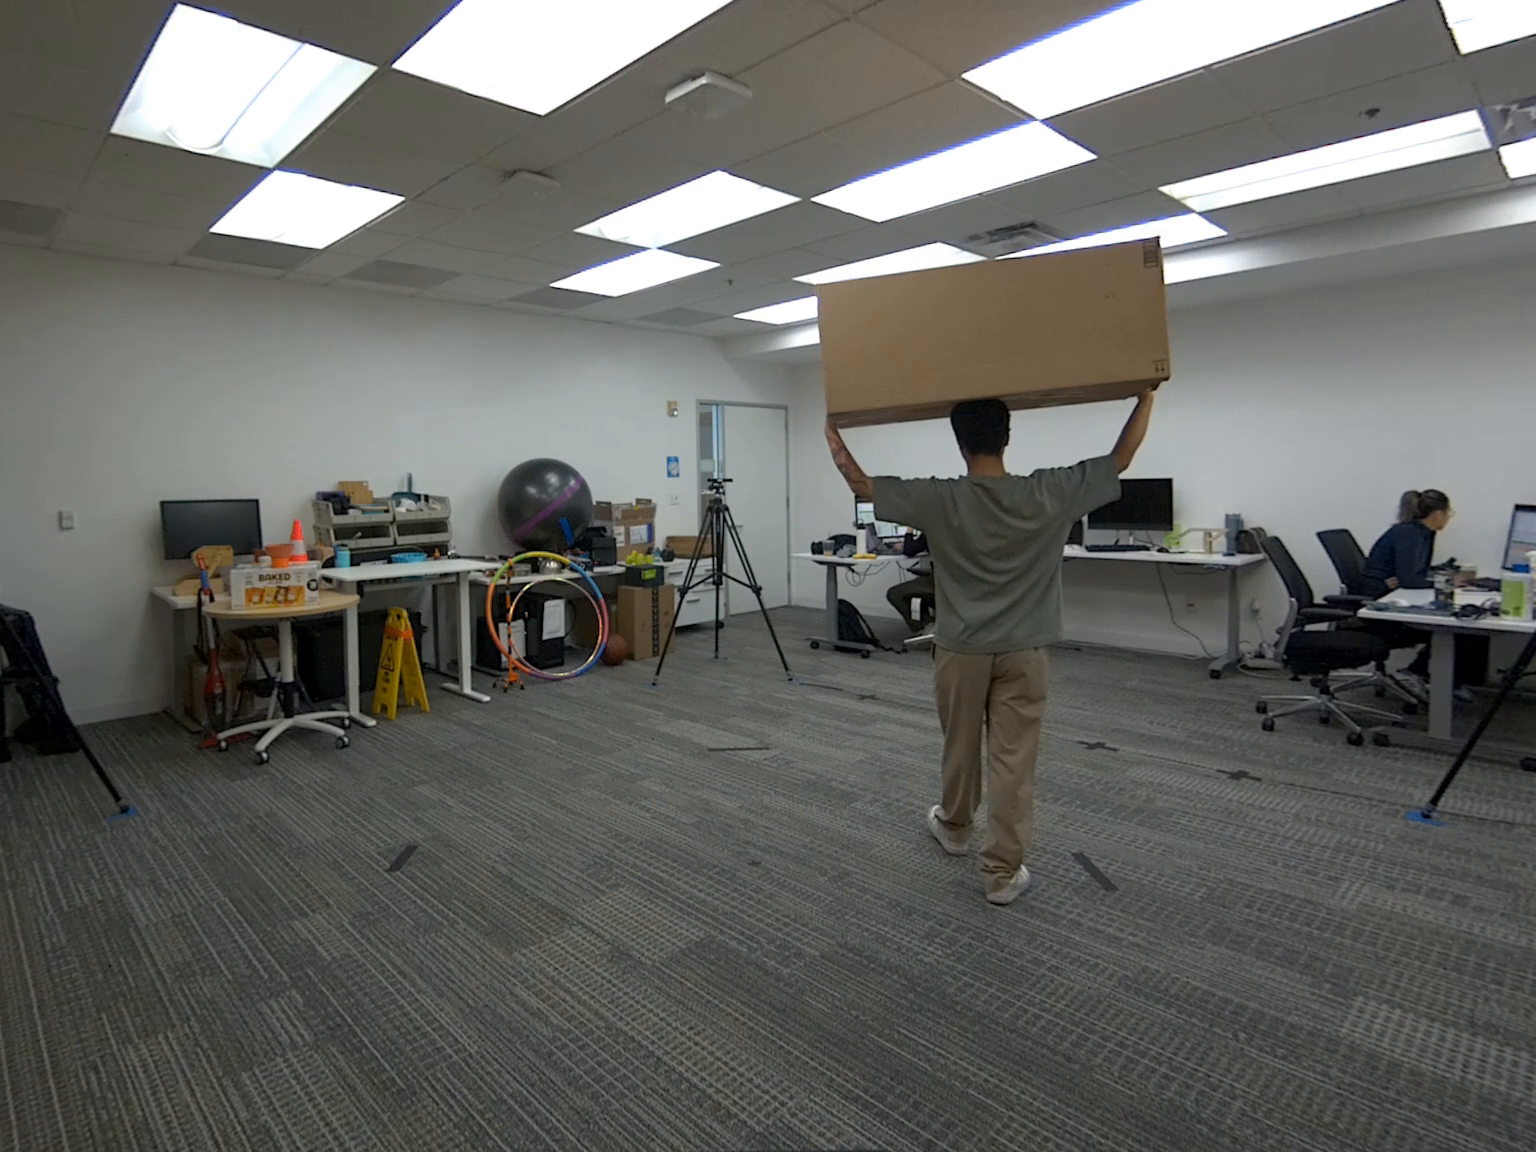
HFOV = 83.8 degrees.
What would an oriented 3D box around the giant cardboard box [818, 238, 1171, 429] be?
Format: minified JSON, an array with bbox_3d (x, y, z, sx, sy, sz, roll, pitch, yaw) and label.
[{"bbox_3d":[0.714,-0.785,2.896,1.038,0.425,0.573,-5,4,13],"label":"giant cardboard box"}]
